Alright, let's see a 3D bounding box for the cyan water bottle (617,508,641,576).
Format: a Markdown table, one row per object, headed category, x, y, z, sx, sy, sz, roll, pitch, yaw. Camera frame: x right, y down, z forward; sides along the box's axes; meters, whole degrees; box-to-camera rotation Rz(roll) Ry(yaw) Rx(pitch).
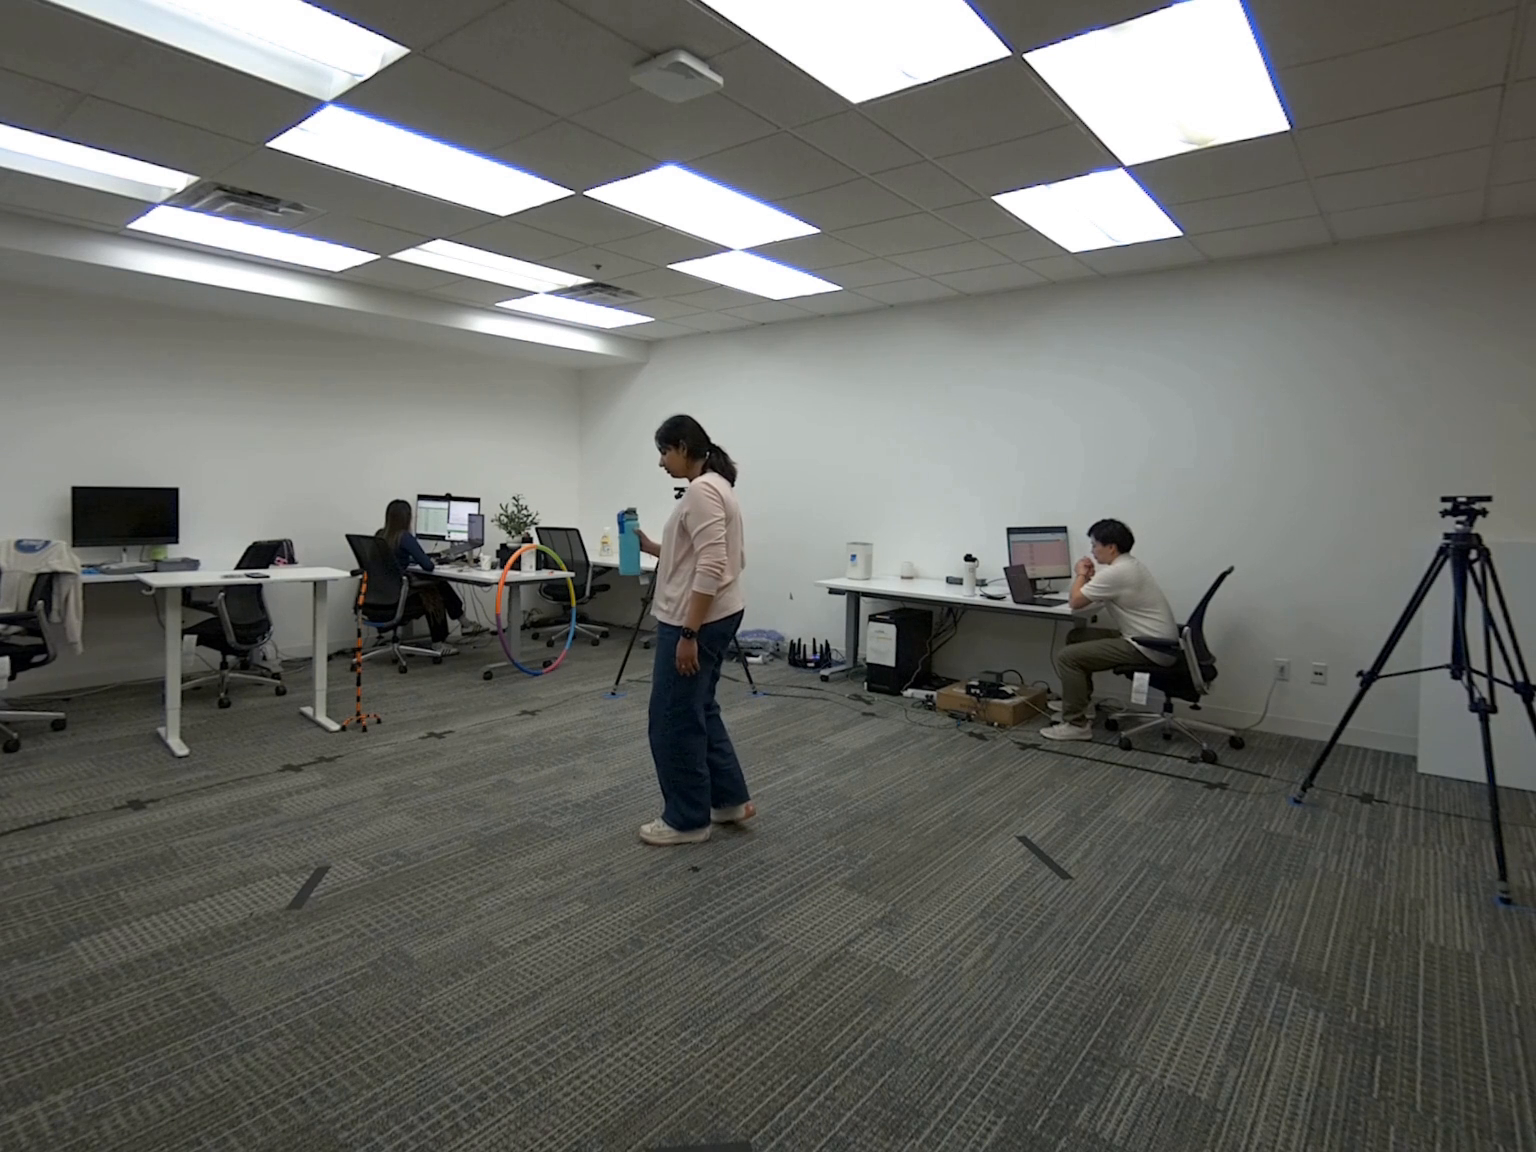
| category | x | y | z | sx | sy | sz | roll | pitch | yaw |
| --- | --- | --- | --- | --- | --- | --- | --- | --- | --- |
| cyan water bottle | -0.599 | -0.151 | 3.586 | 0.092 | 0.282 | 0.093 | -2 | 4 | -2 |
